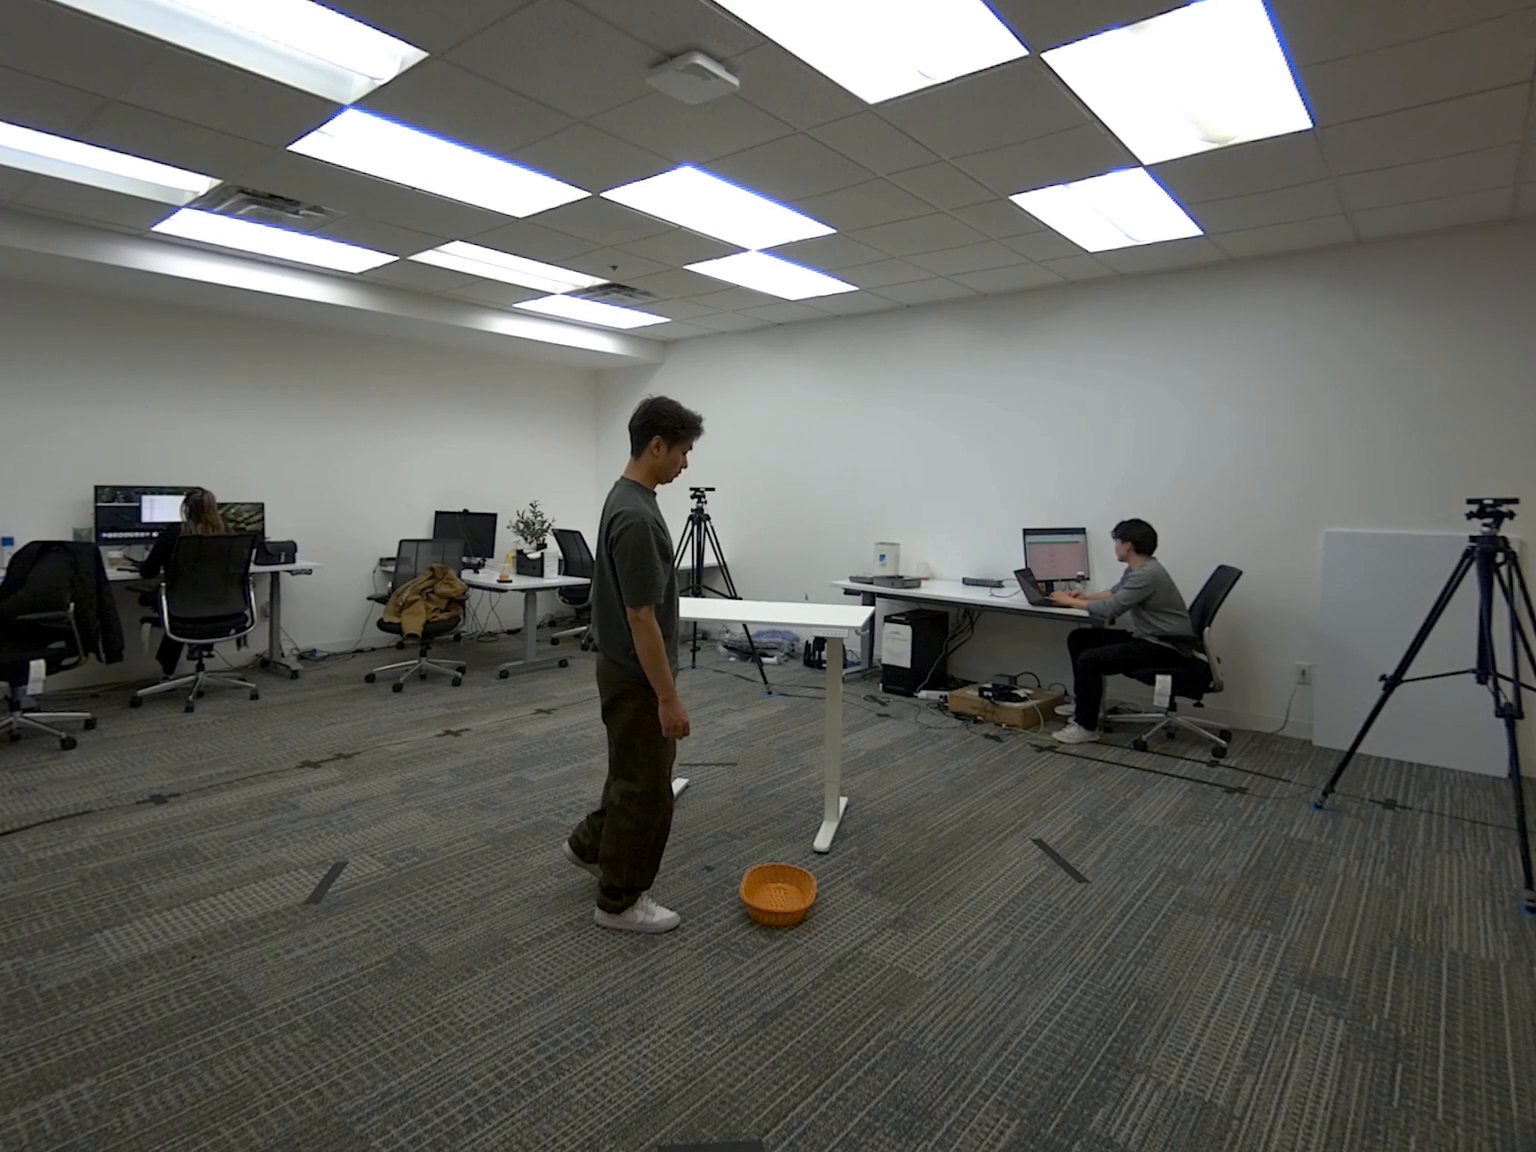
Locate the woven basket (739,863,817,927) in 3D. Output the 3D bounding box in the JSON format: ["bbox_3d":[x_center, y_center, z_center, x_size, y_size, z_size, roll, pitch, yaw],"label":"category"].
[{"bbox_3d":[0.026,1.063,2.835,0.256,0.073,0.347,3,6,11],"label":"woven basket"}]
